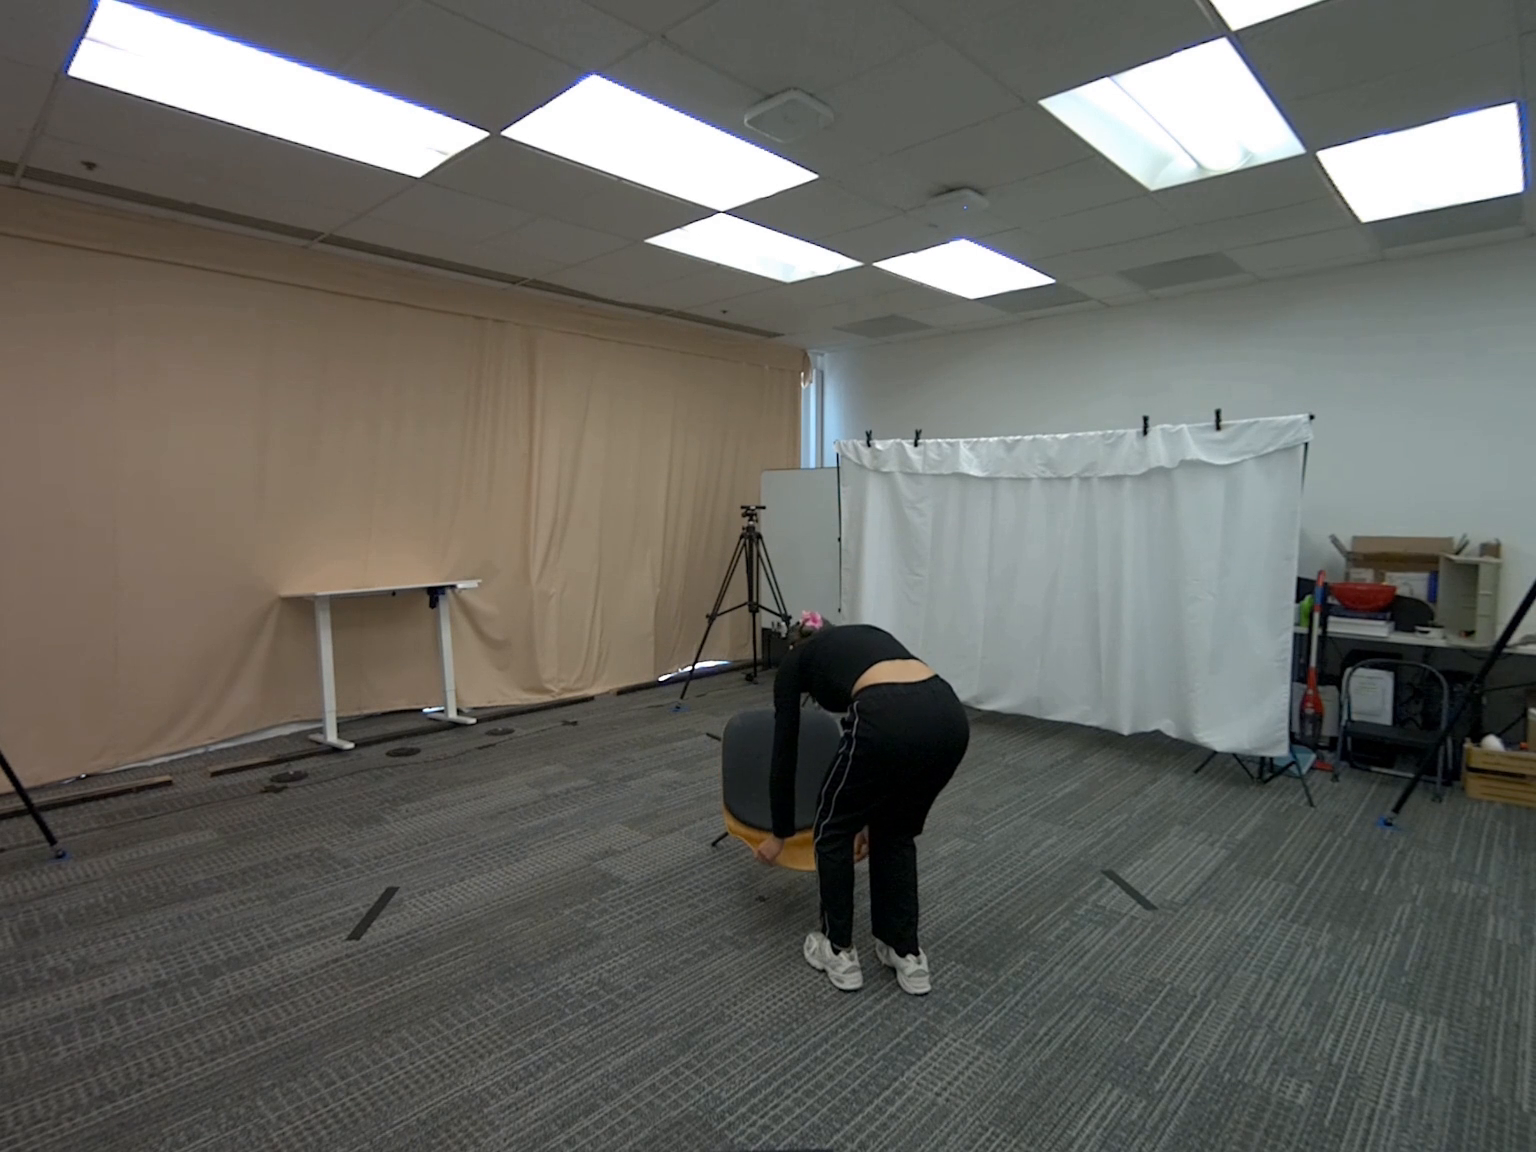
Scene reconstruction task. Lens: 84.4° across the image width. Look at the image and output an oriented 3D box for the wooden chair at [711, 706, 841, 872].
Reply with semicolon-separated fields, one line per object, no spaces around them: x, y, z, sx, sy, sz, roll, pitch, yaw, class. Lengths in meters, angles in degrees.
0.056;0.764;3.141;0.473;0.527;0.879;-1;-11;-11;wooden chair
